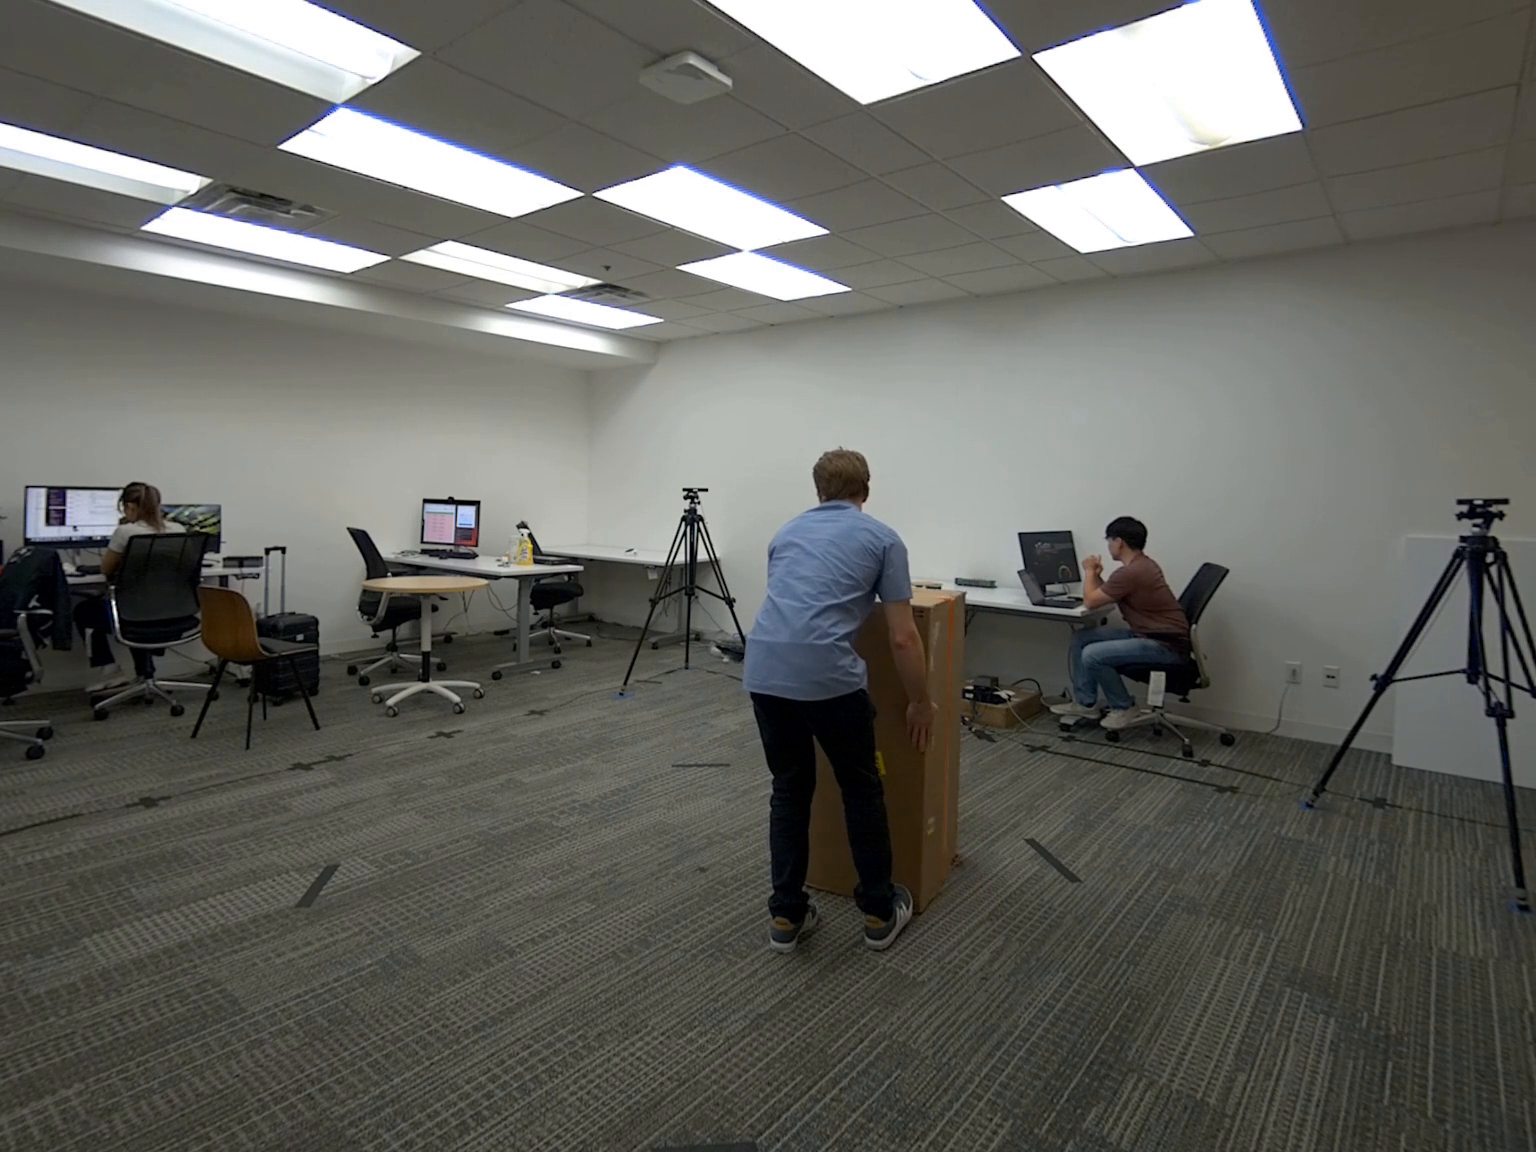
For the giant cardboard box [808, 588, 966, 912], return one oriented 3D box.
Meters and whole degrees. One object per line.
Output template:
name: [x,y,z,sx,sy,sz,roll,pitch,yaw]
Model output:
giant cardboard box: [0.438,0.571,3.133,0.438,1.023,0.564,2,3,26]
